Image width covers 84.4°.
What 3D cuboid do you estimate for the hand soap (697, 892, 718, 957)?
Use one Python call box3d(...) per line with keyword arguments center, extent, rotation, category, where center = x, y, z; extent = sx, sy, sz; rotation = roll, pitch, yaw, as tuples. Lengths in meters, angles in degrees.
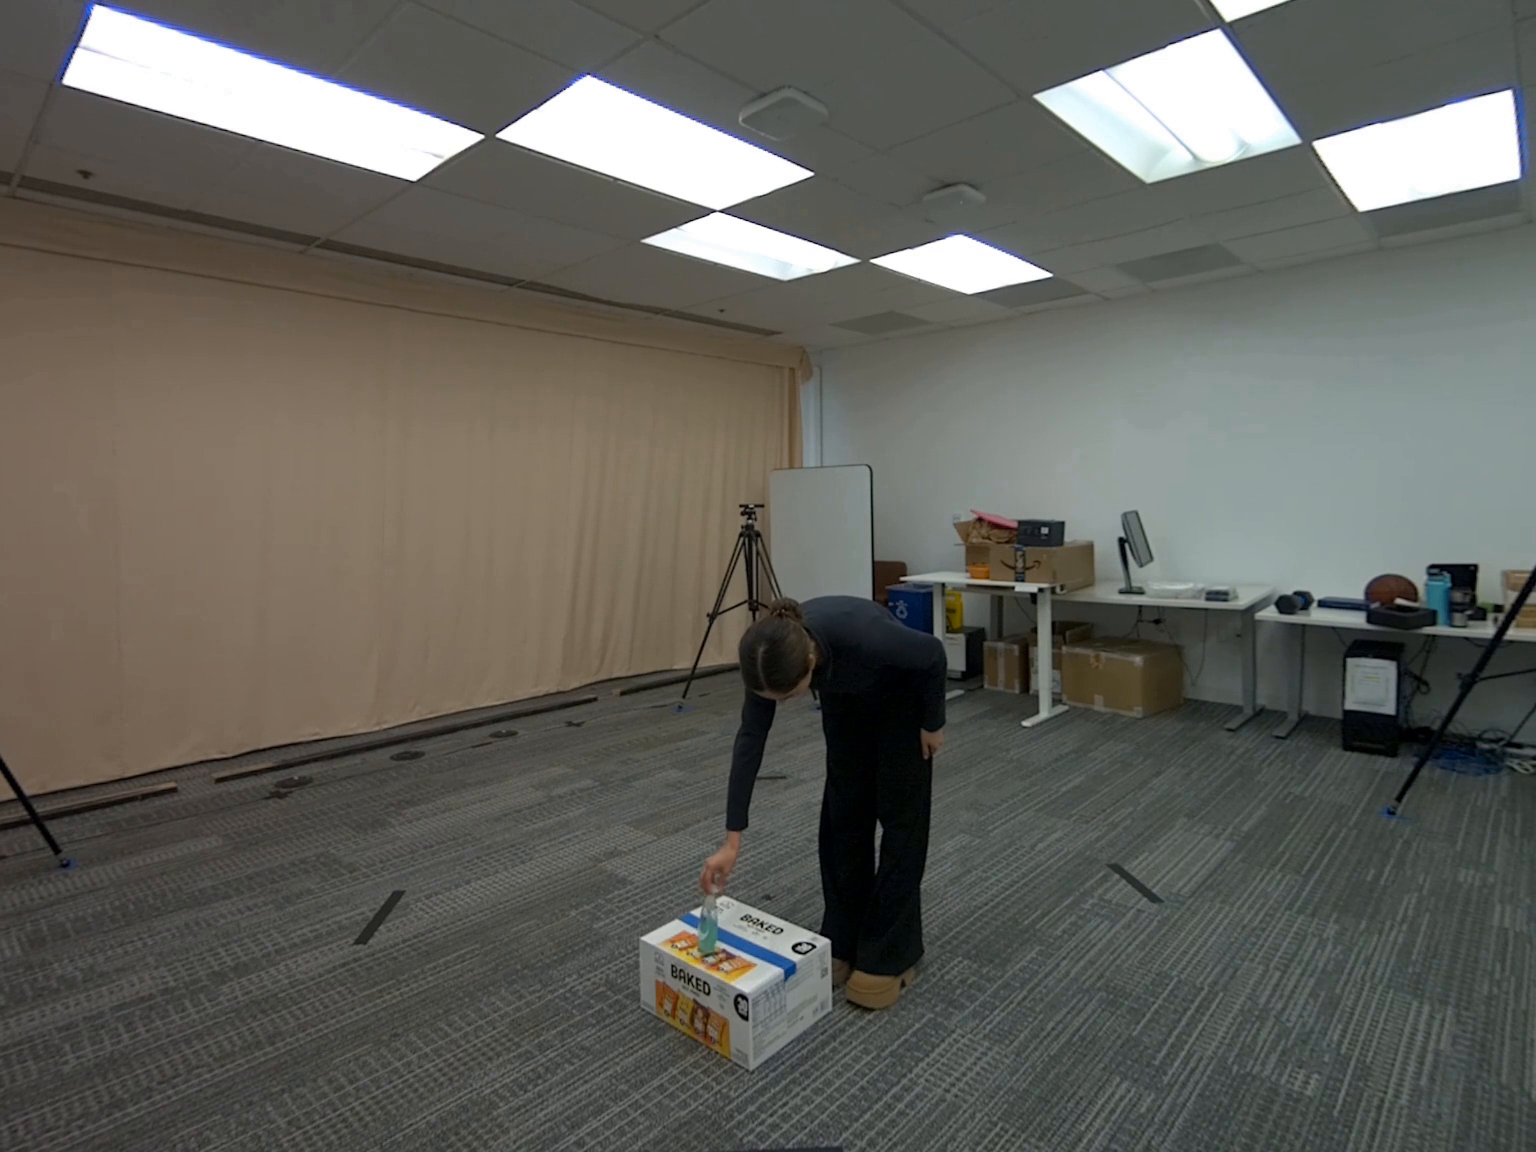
box3d(center=(-0.153, 0.908, 2.255), extent=(0.042, 0.168, 0.086), rotation=(5, -2, -19), category="hand soap")
